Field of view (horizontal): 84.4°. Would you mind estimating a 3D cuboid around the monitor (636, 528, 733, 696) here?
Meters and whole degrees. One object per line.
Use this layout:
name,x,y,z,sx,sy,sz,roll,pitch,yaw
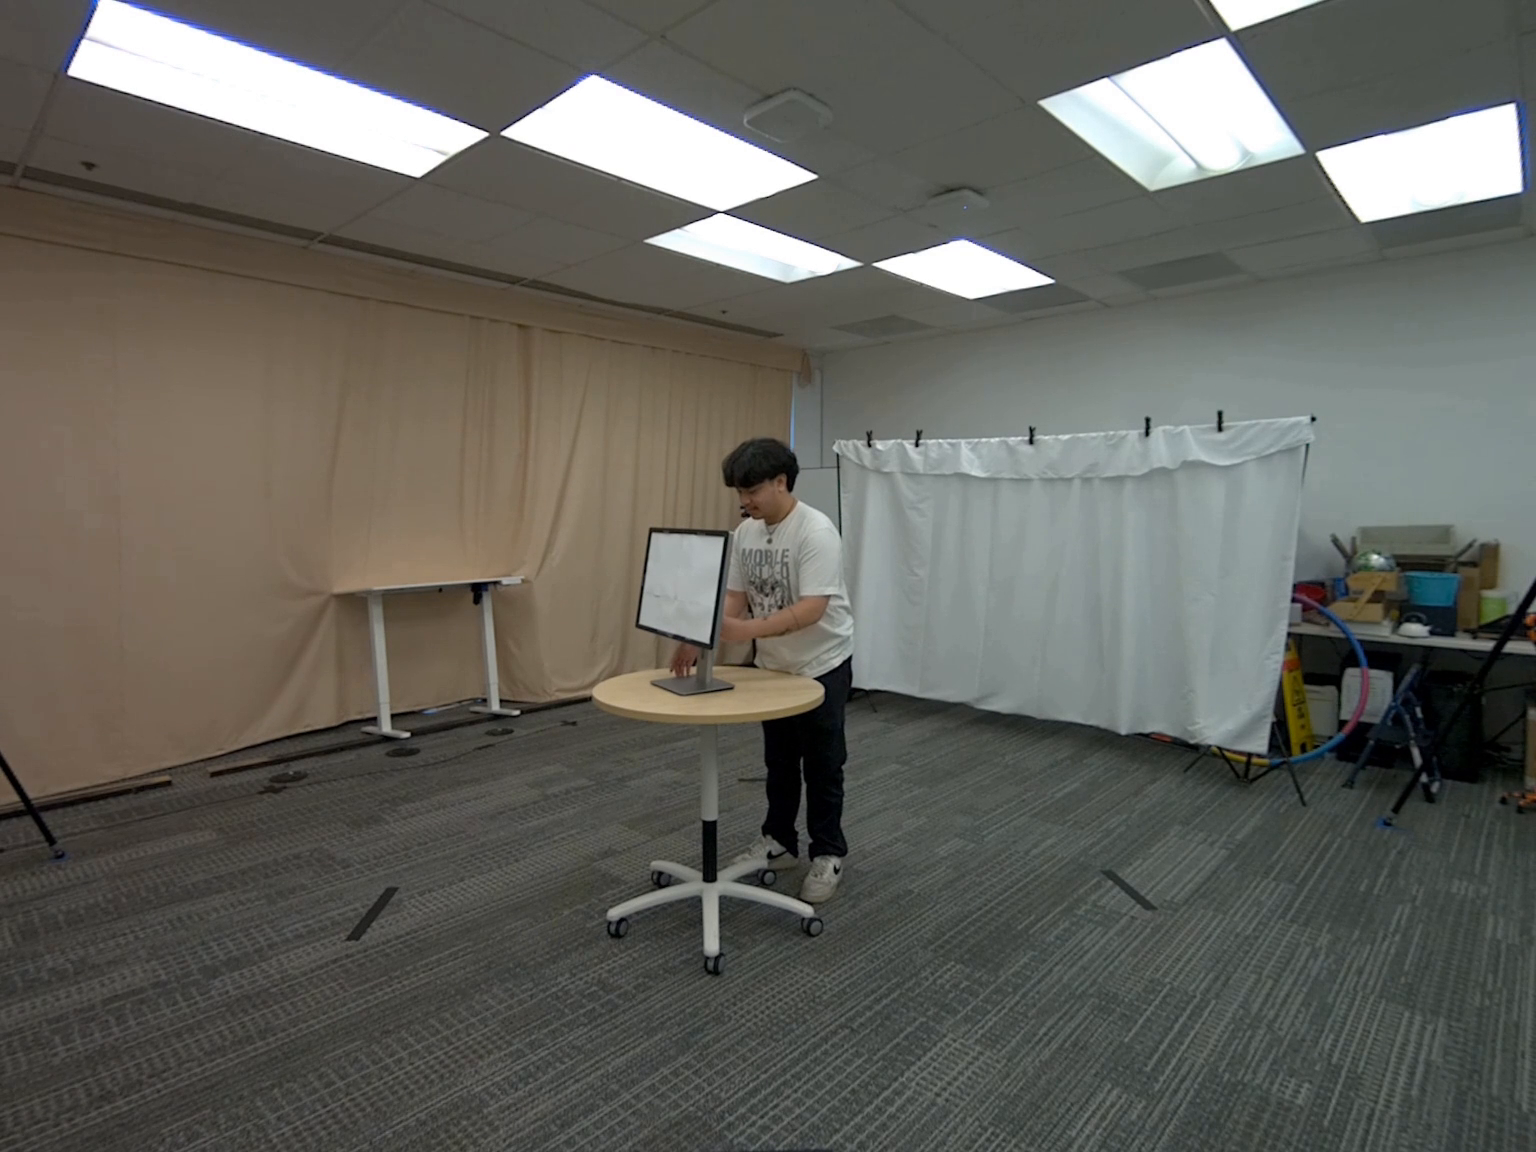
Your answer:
monitor,-0.230,0.116,2.811,0.204,0.554,0.583,3,1,-34
